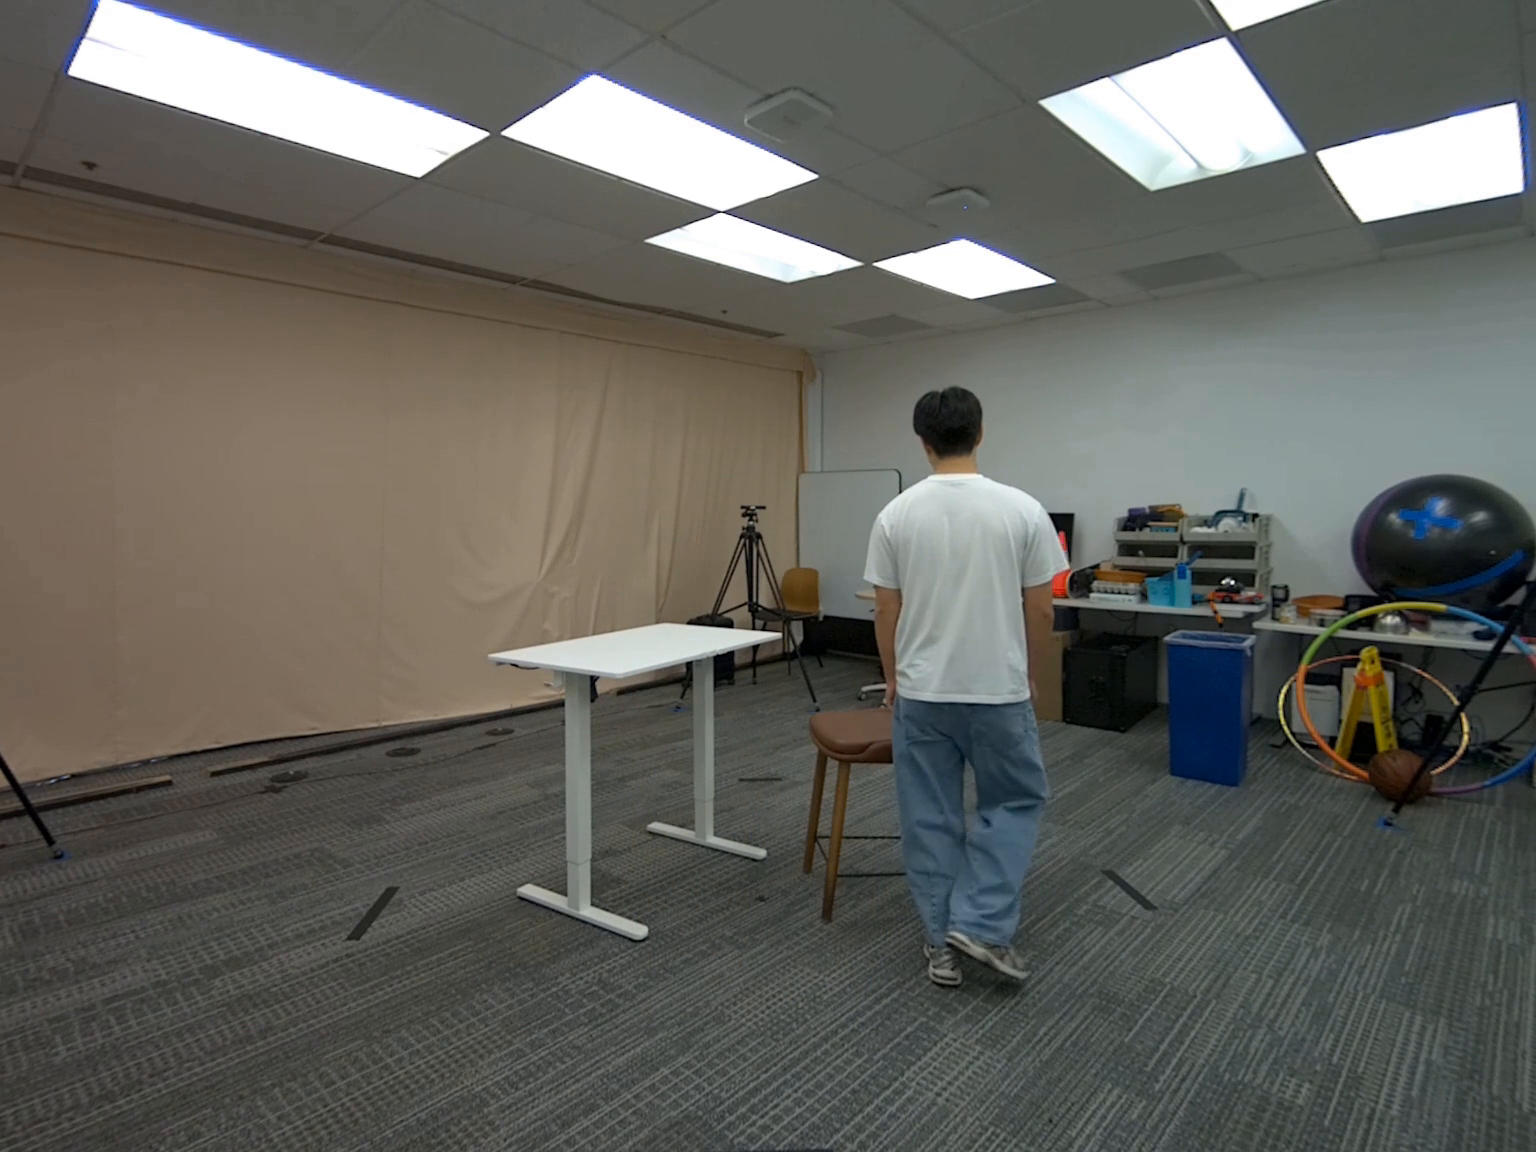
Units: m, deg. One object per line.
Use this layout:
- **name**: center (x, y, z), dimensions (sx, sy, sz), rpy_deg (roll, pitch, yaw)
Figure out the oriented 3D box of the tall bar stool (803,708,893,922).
- **tall bar stool**: center (0.391, 0.708, 2.997), dimensions (0.464, 0.888, 0.461), rpy_deg (1, 4, -7)
